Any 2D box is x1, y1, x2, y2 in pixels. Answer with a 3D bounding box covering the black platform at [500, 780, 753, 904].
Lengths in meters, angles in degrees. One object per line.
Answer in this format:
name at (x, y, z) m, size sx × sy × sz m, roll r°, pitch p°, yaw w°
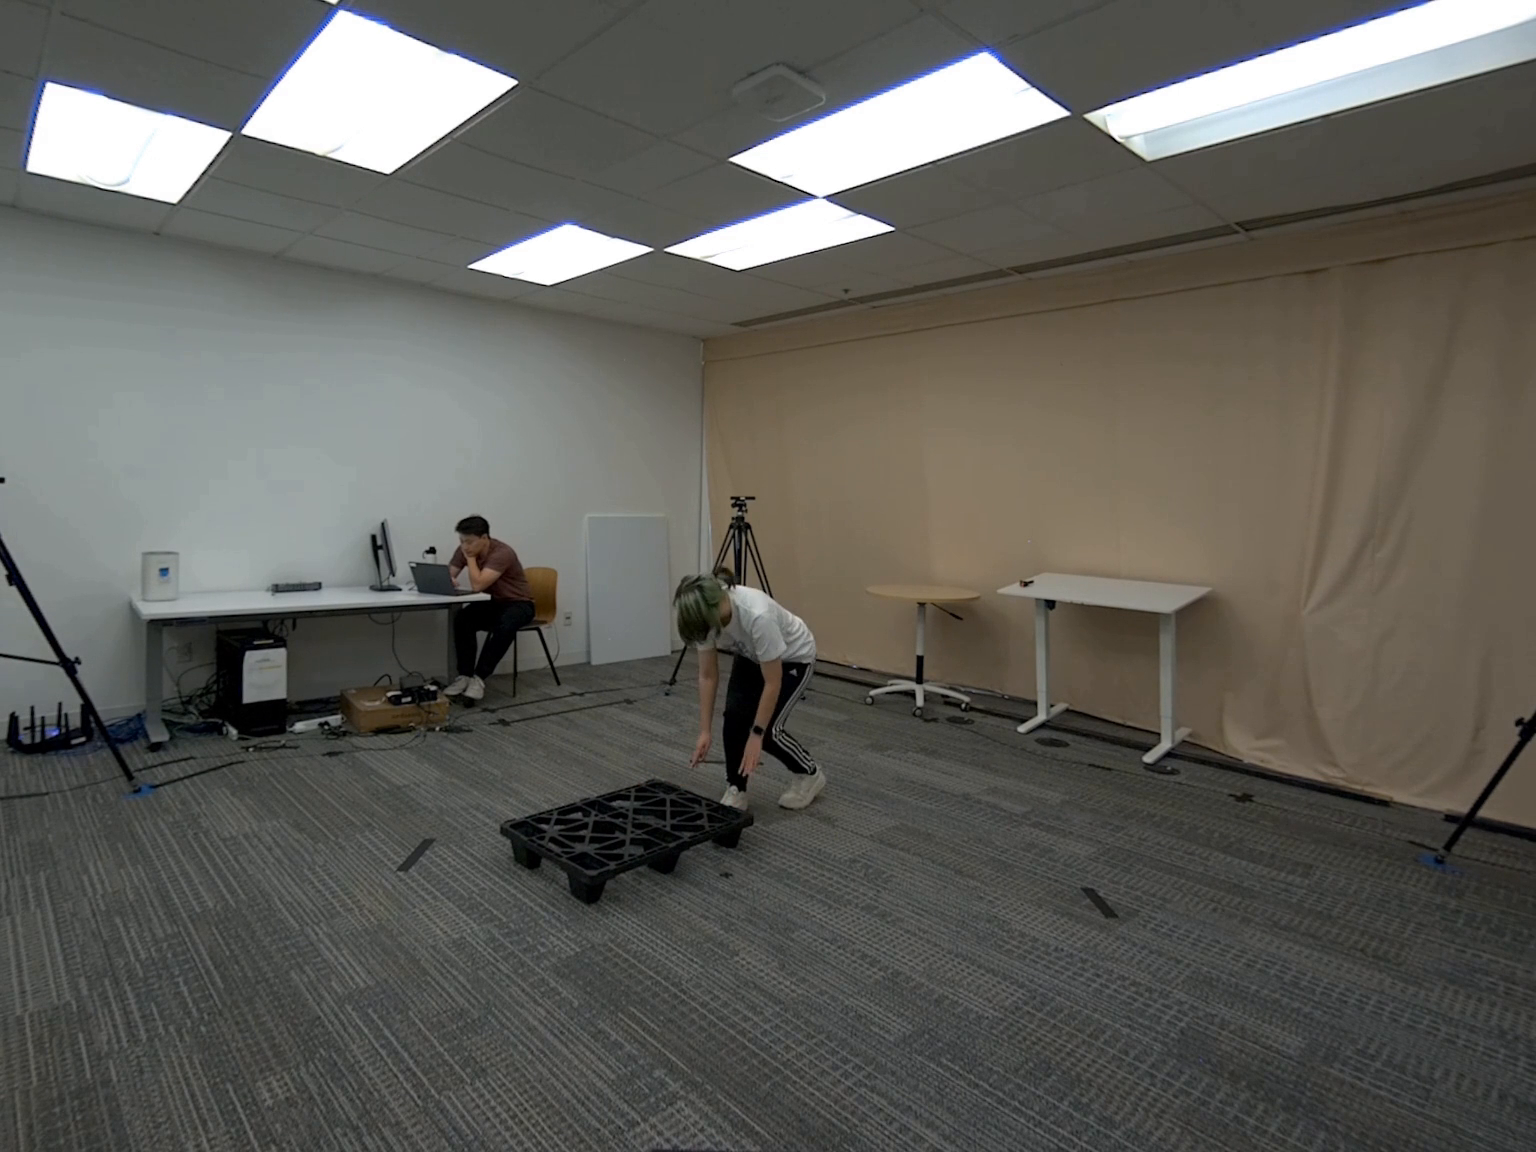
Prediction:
black platform at (-0.540, 1.014, 3.272) m, size 0.621 × 0.143 × 0.787 m, roll 7°, pitch 8°, yaw 43°
